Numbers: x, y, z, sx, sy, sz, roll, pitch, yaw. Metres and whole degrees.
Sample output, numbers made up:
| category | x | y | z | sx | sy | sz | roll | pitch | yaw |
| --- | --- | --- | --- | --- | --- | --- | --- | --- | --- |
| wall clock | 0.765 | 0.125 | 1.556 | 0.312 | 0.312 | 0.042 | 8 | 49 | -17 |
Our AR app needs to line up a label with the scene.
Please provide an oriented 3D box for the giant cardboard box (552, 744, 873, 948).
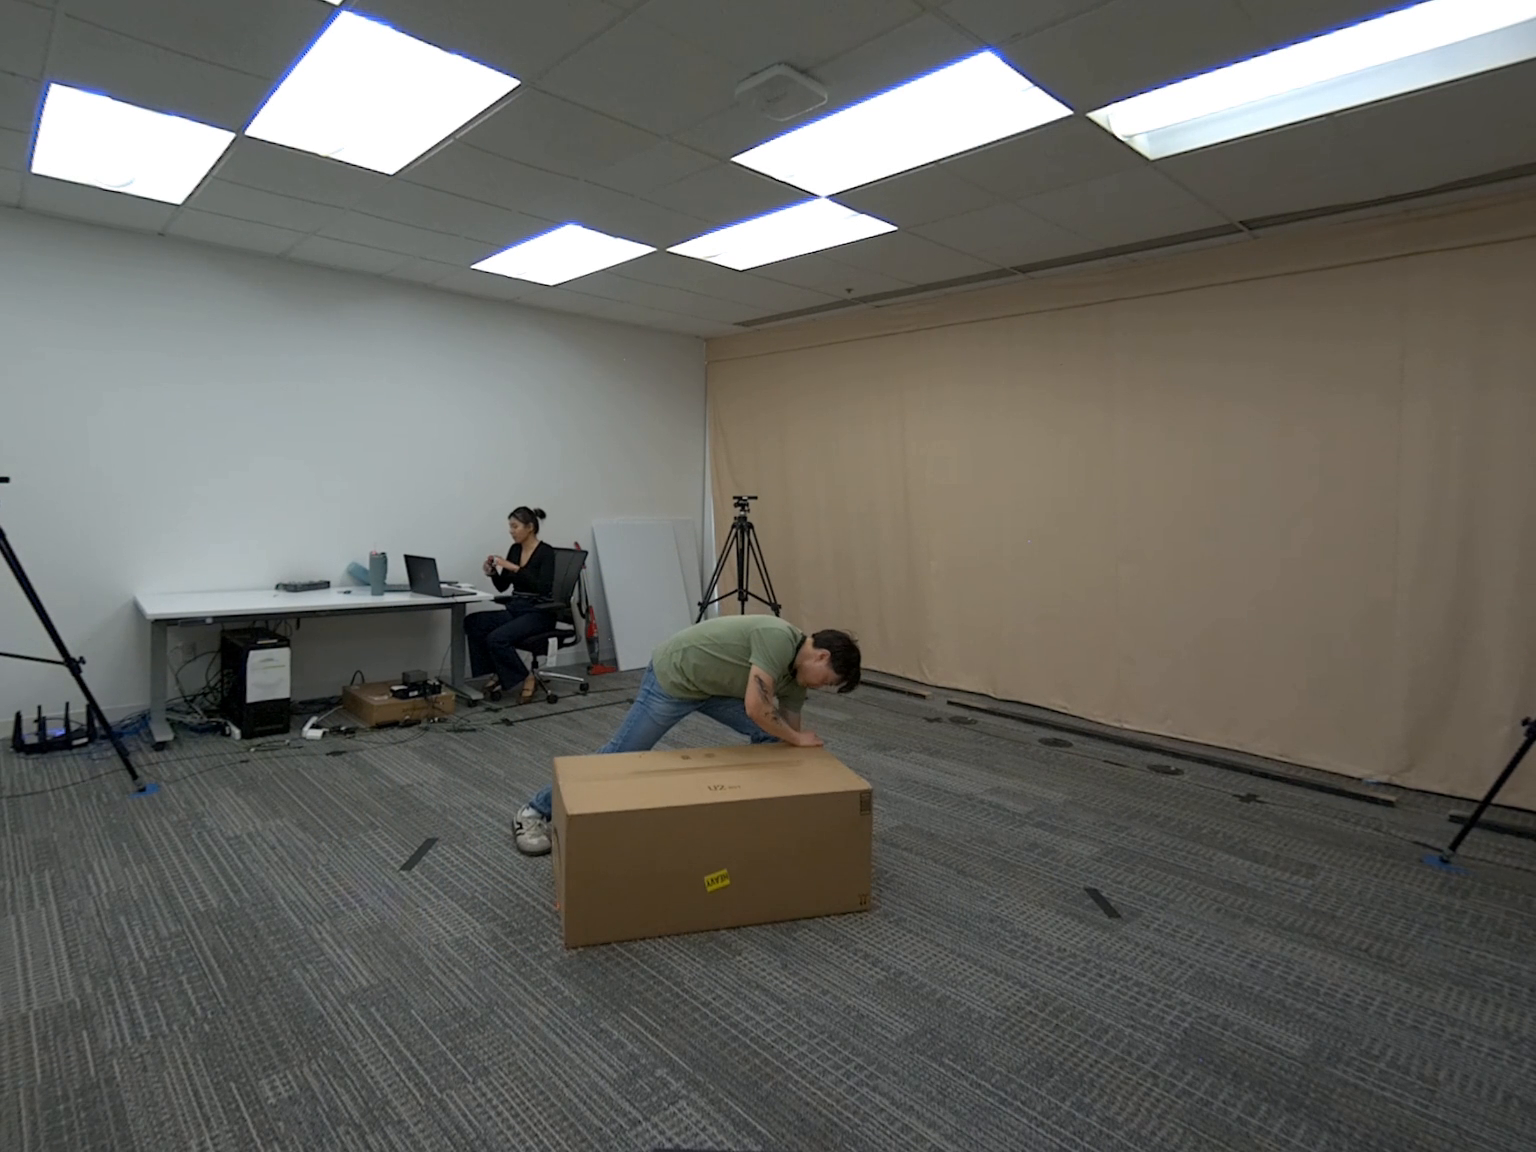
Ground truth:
| category | x | y | z | sx | sy | sz | roll | pitch | yaw |
| --- | --- | --- | --- | --- | --- | --- | --- | --- | --- |
| giant cardboard box | -0.227 | 0.893 | 2.961 | 1.012 | 0.425 | 0.587 | 0 | 5 | -17 |
